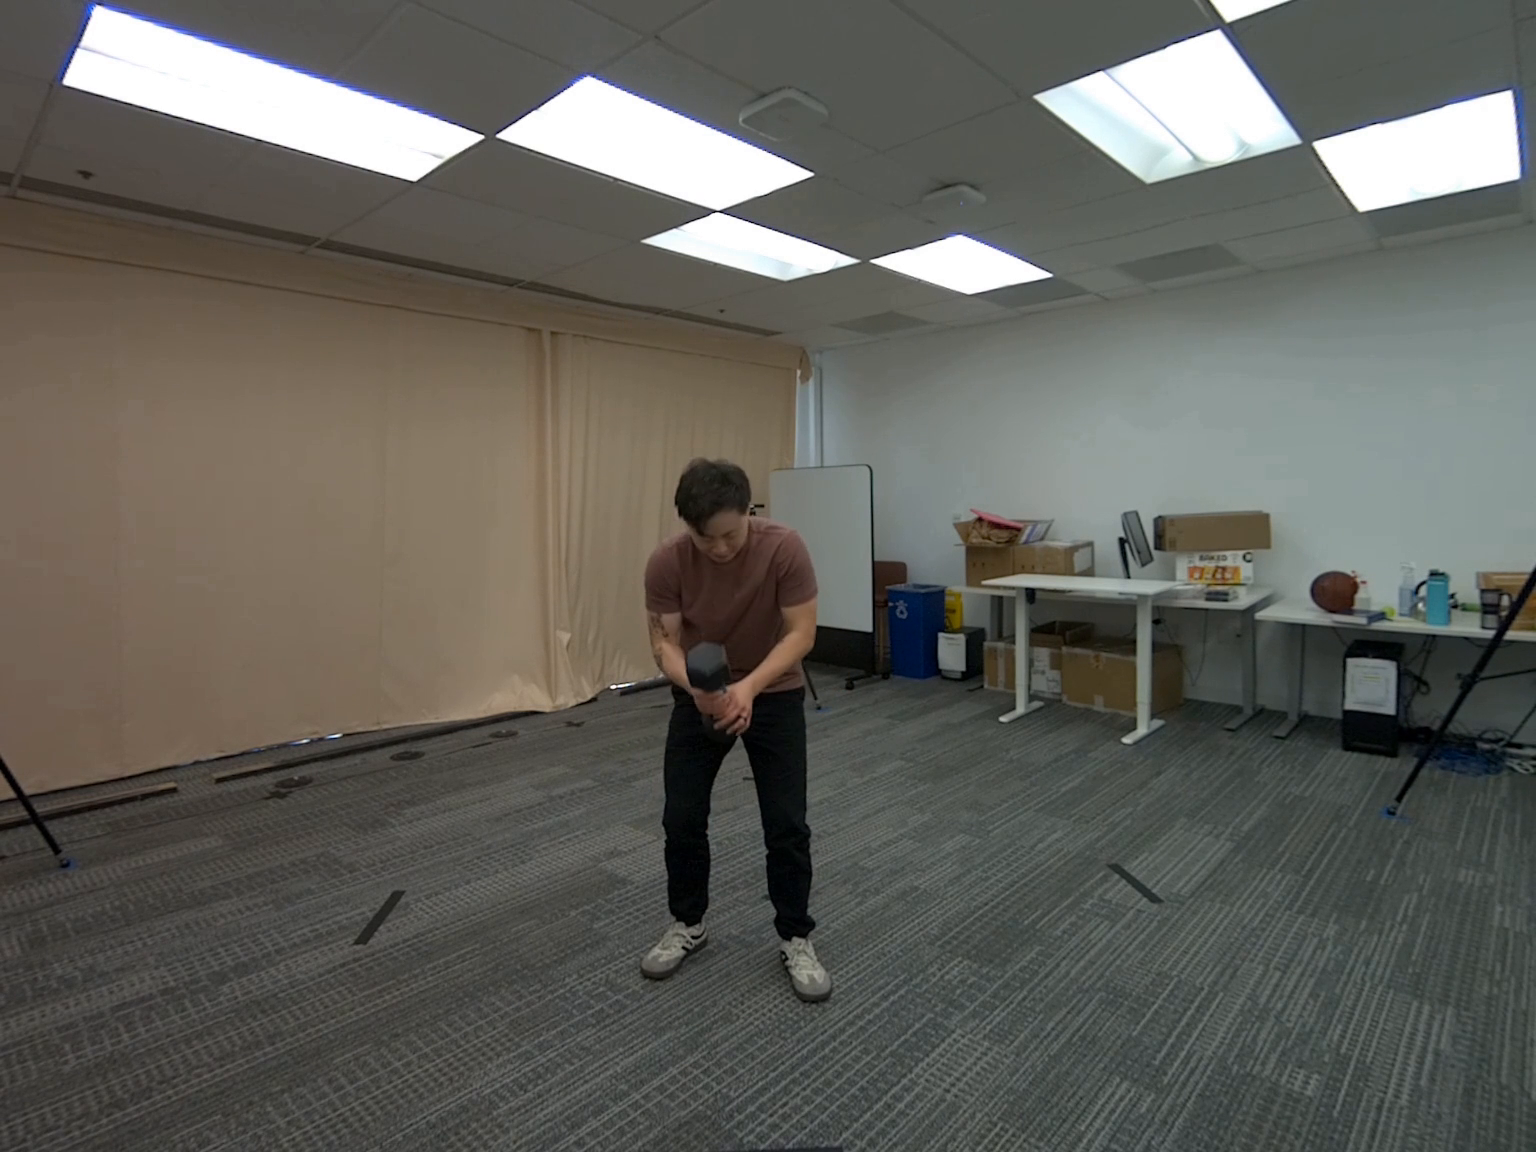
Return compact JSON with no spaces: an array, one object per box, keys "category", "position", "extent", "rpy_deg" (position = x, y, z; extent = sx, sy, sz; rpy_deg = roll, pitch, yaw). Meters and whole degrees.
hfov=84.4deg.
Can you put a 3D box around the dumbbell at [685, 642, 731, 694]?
[{"category":"dumbbell","position":[-0.138,0.293,2.210],"extent":[0.126,0.286,0.109],"rpy_deg":[4,44,25]}]
